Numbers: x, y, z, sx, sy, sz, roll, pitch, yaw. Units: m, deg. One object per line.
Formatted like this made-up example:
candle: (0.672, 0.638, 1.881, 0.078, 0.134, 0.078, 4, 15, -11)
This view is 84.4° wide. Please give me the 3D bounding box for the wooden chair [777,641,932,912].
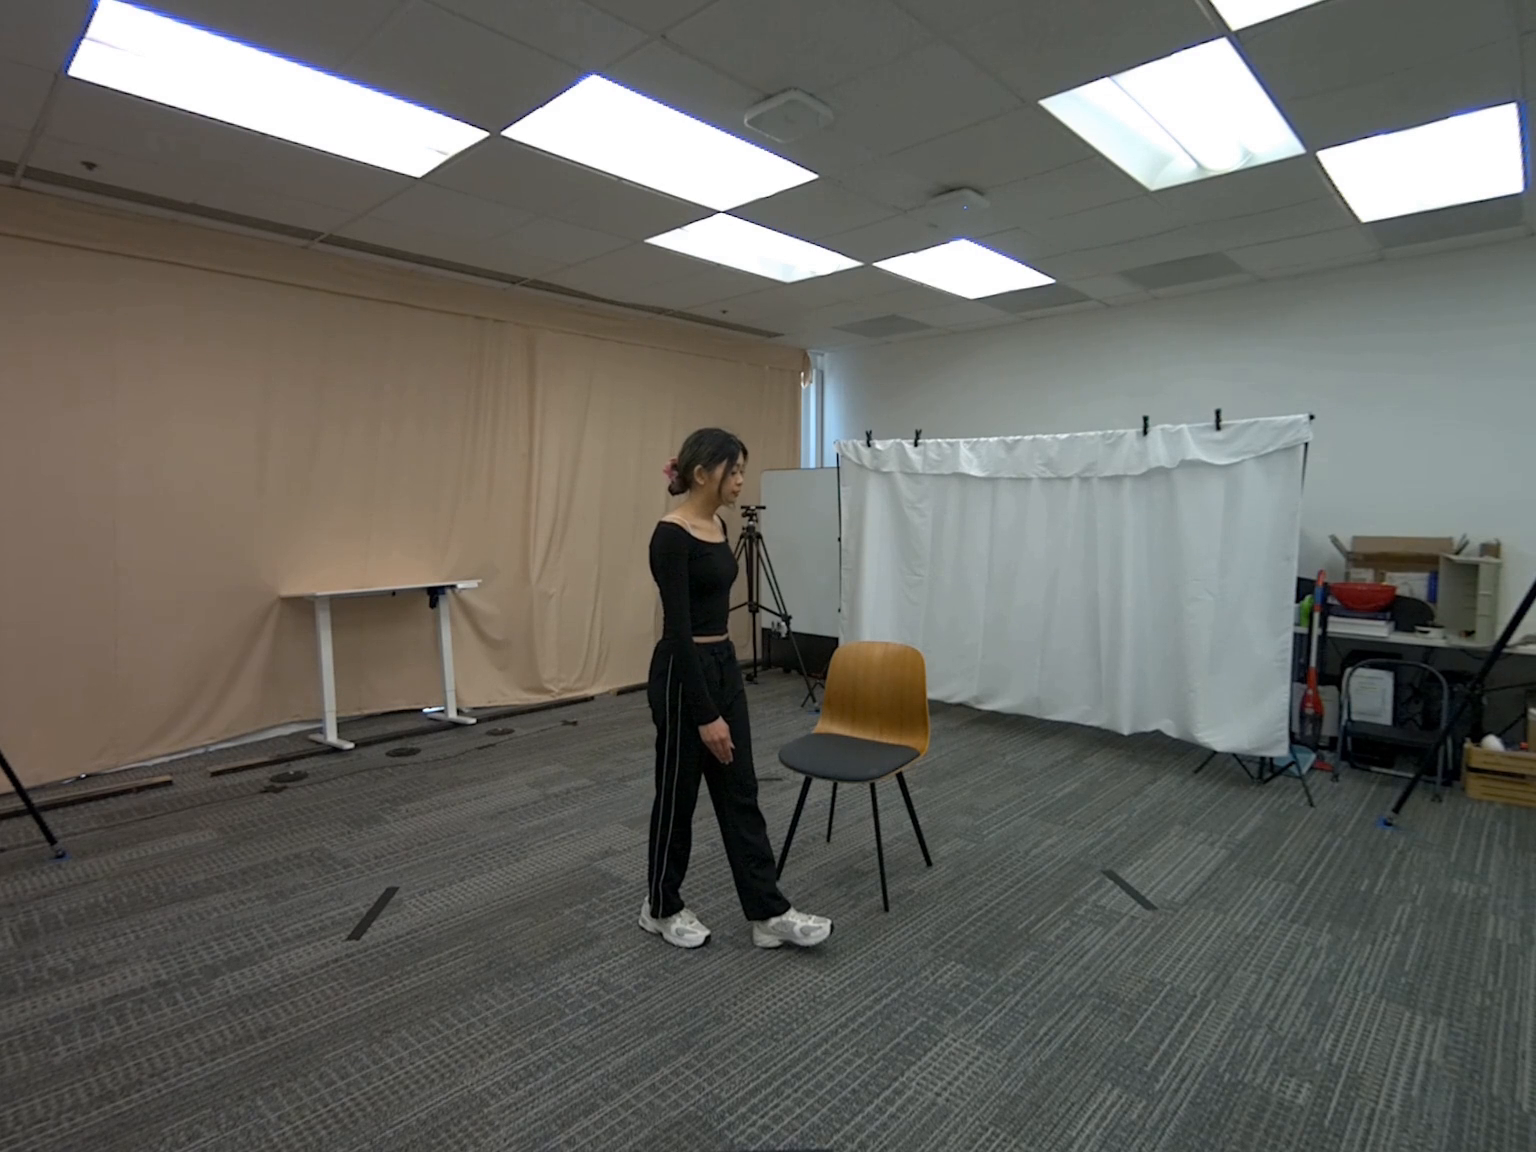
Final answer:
wooden chair: (0.327, 0.701, 3.154, 0.493, 0.877, 0.507, 2, 0, 32)
